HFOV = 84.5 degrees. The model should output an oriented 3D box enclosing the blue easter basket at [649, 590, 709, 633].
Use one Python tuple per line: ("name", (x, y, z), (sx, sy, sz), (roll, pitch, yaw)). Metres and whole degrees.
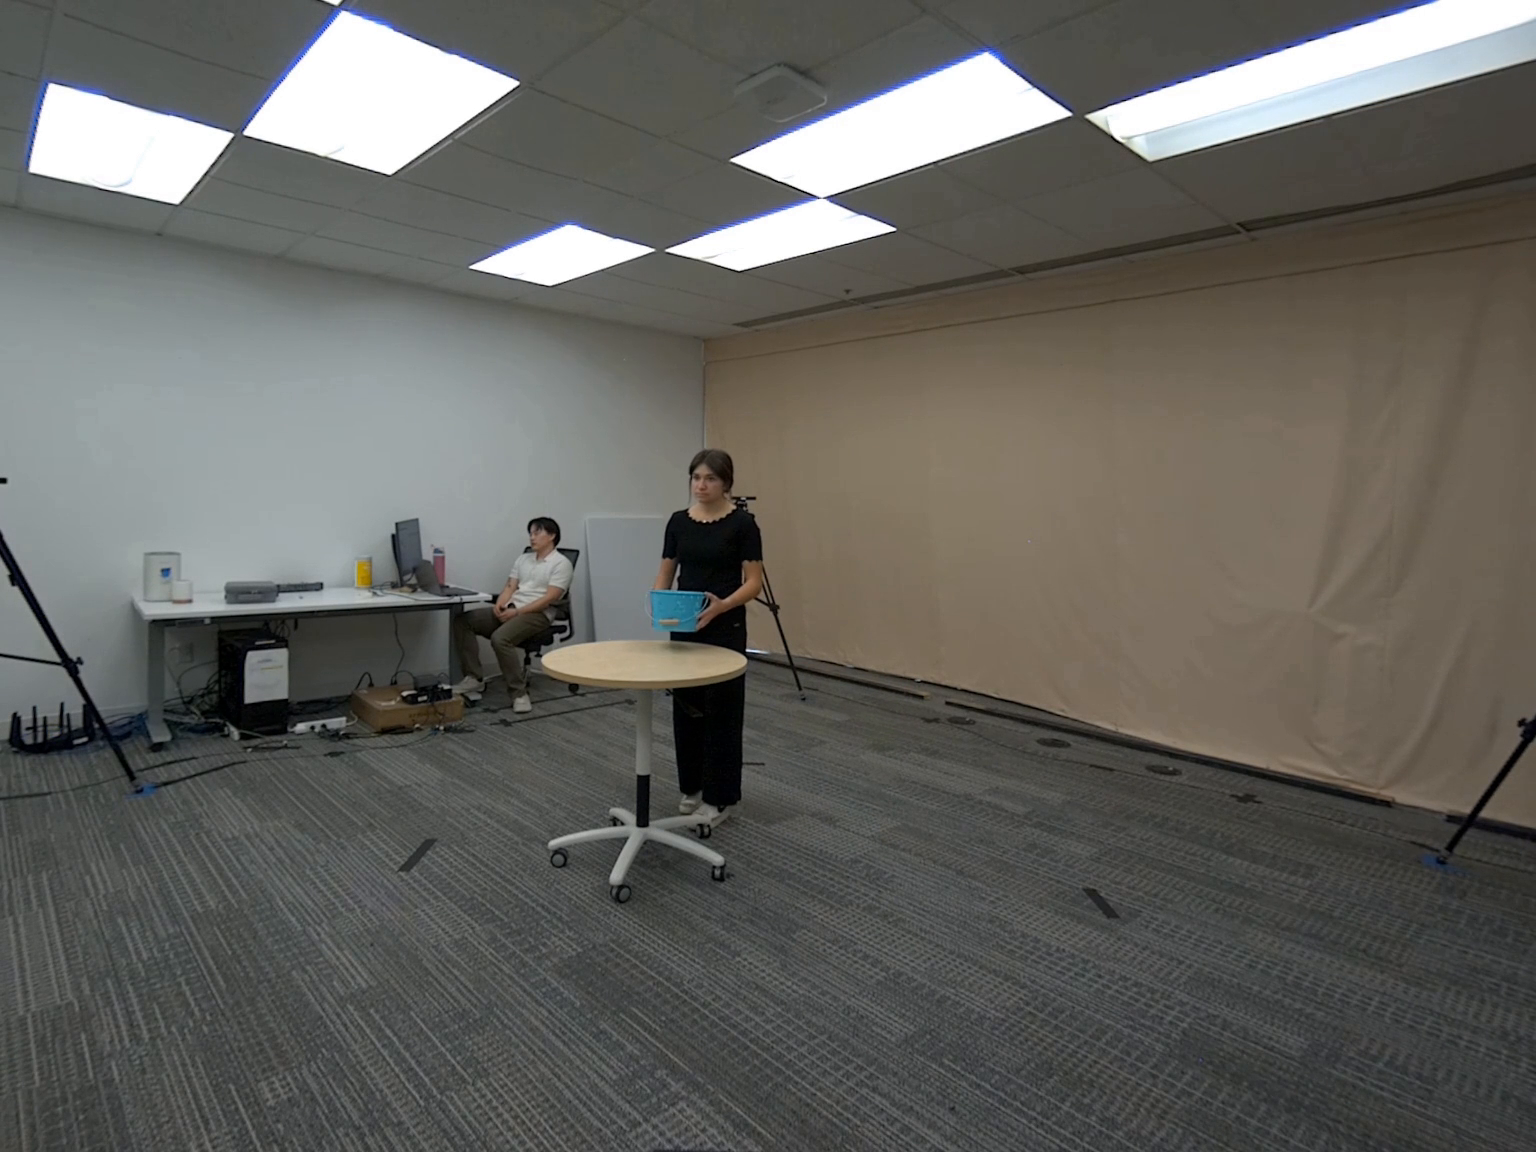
("blue easter basket", (-0.395, 0.144, 3.378), (0.243, 0.156, 0.243), (3, 0, -1))
